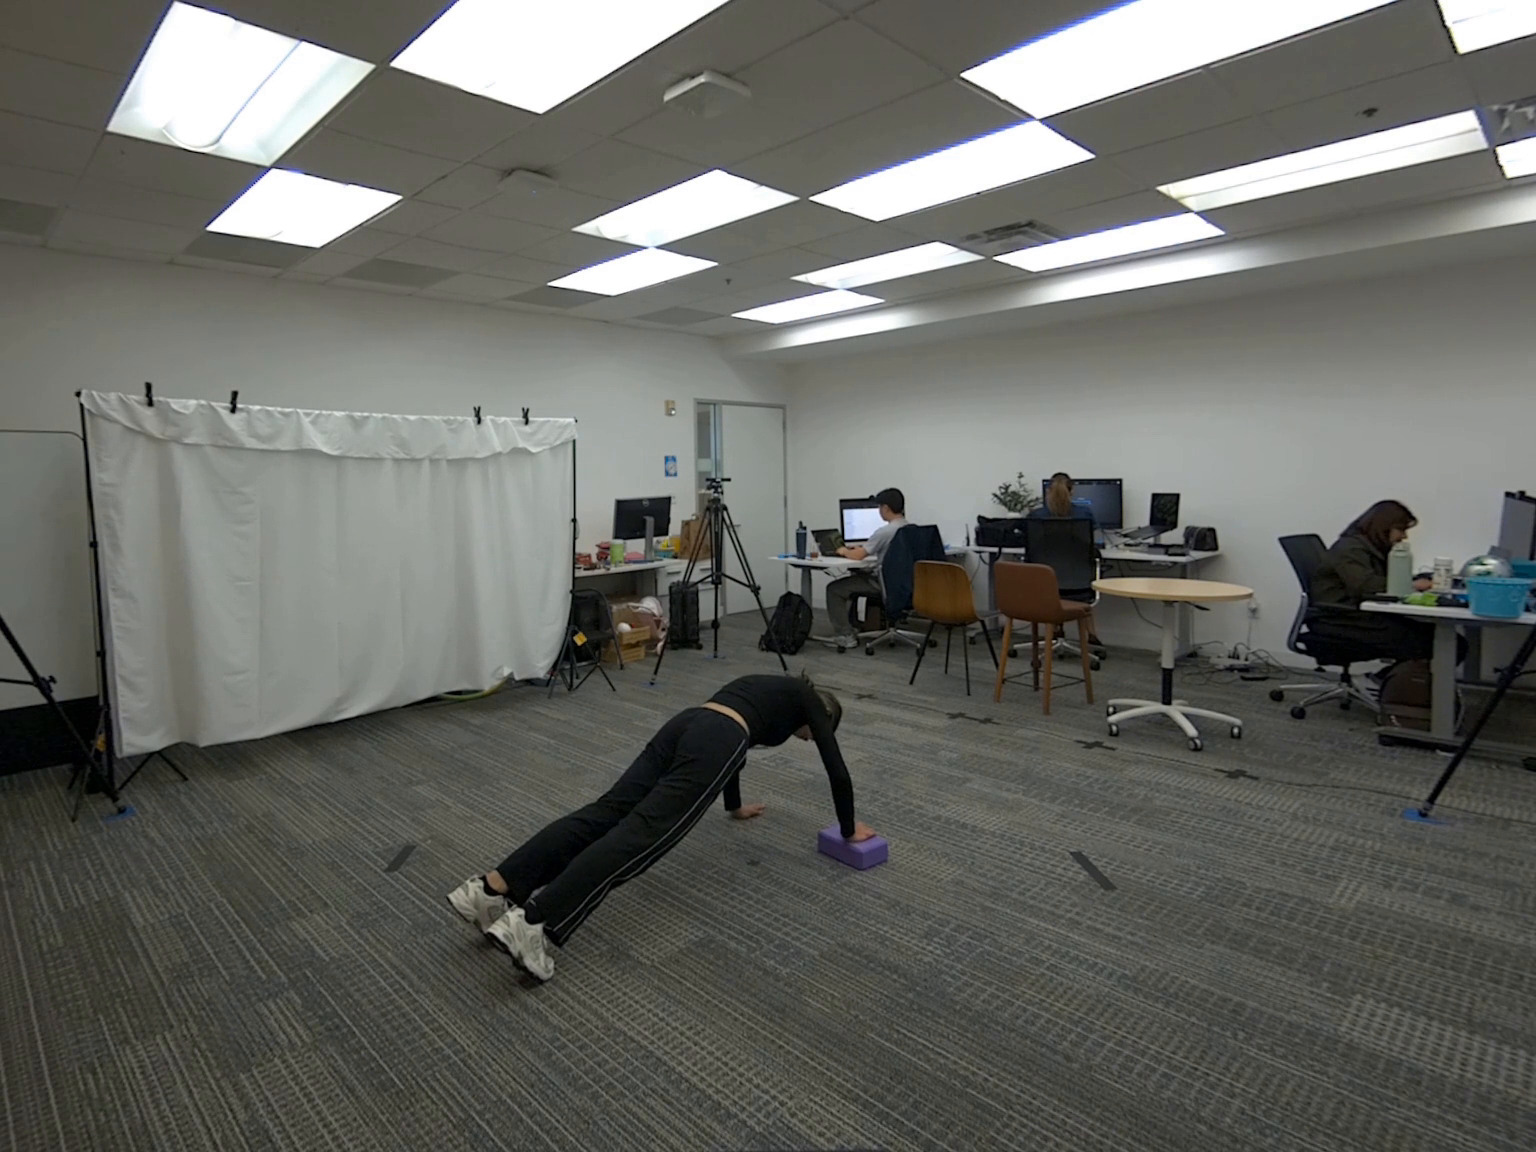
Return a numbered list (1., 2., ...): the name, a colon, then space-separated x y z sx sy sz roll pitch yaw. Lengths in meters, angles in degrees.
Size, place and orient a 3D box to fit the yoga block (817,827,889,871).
1. yoga block: 0.311 0.994 3.151 0.145 0.076 0.237 -5 9 -37
